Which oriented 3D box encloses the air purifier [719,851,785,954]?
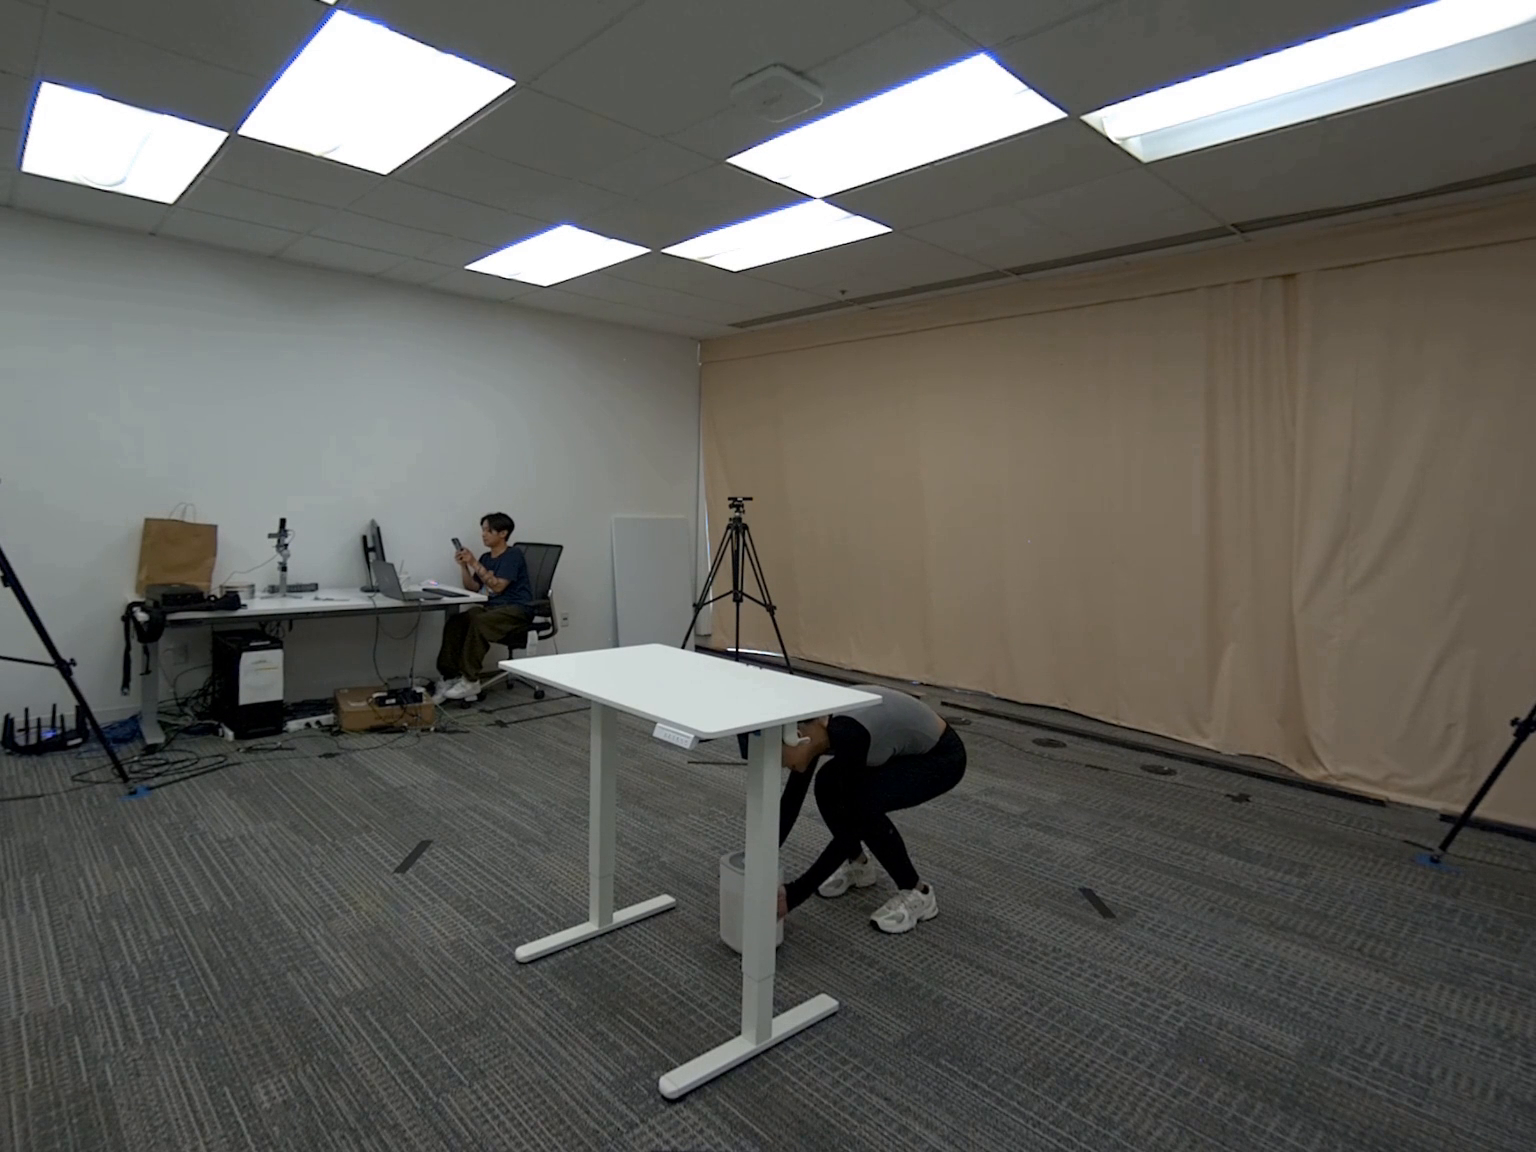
[{"bbox_3d":[-0.053,1.020,2.615,0.176,0.264,0.167,3,8,44],"label":"air purifier"}]
